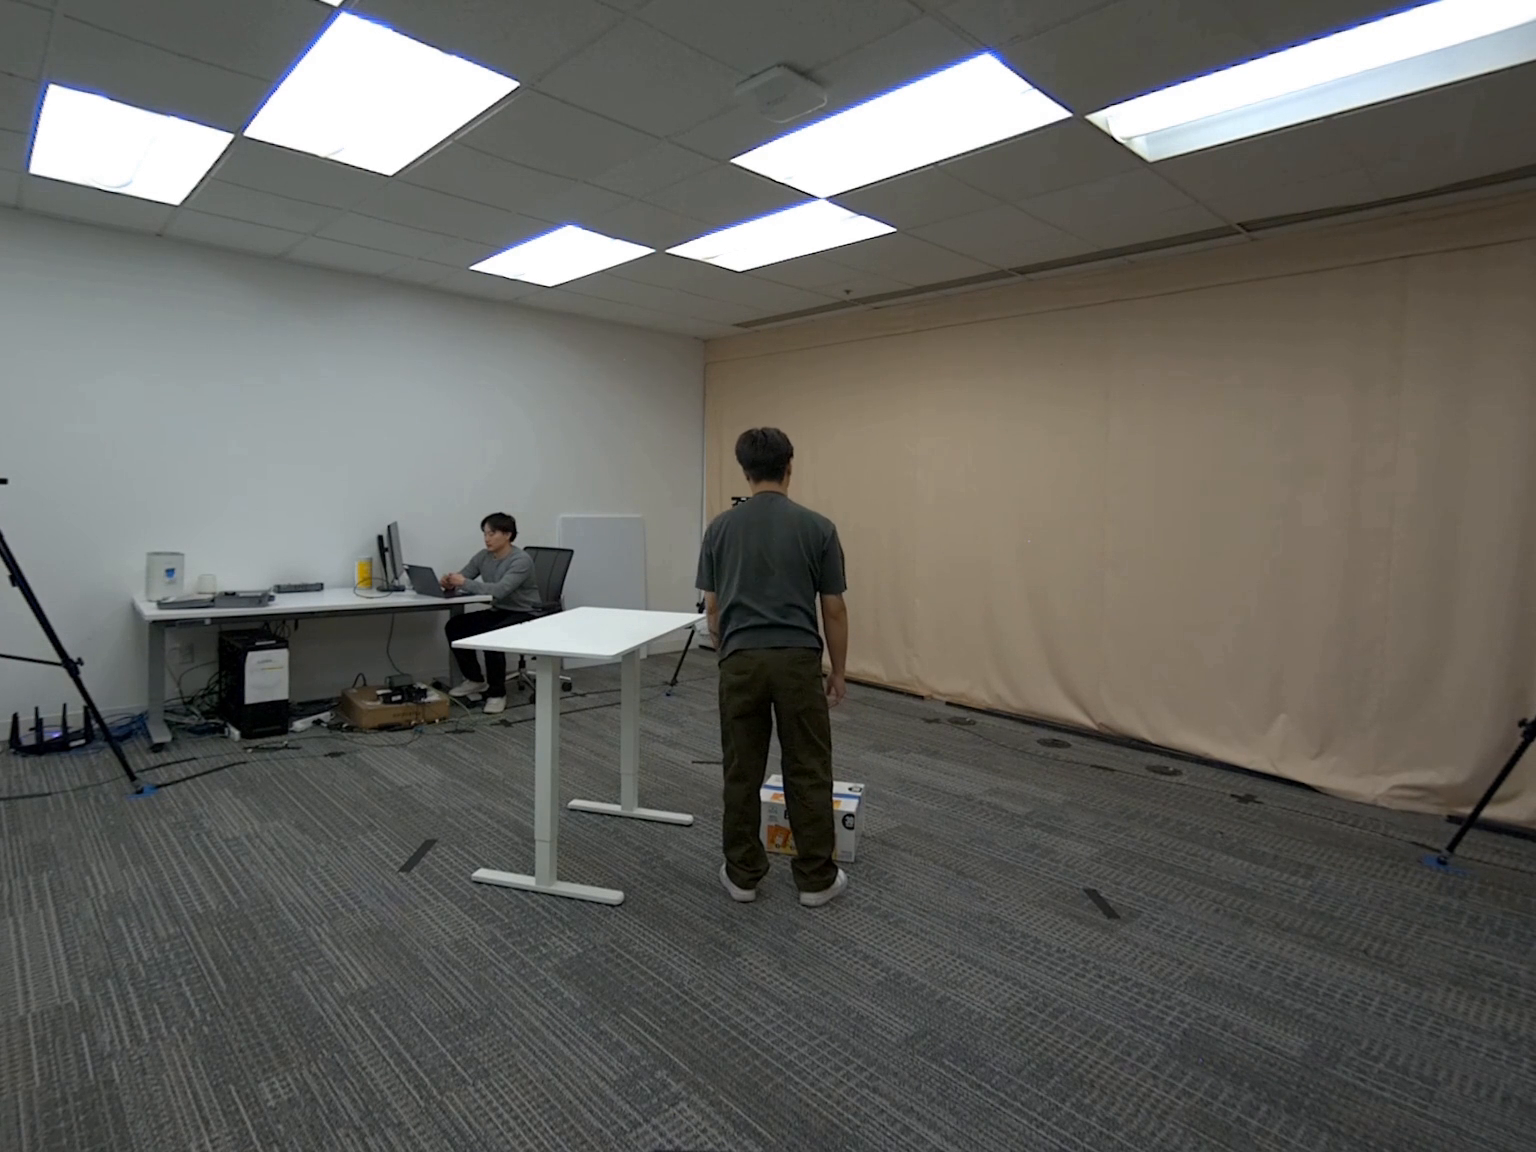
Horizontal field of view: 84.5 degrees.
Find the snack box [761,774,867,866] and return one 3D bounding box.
[{"bbox_3d":[0.174,0.978,3.441,0.410,0.205,0.337,2,4,14],"label":"snack box"}]
